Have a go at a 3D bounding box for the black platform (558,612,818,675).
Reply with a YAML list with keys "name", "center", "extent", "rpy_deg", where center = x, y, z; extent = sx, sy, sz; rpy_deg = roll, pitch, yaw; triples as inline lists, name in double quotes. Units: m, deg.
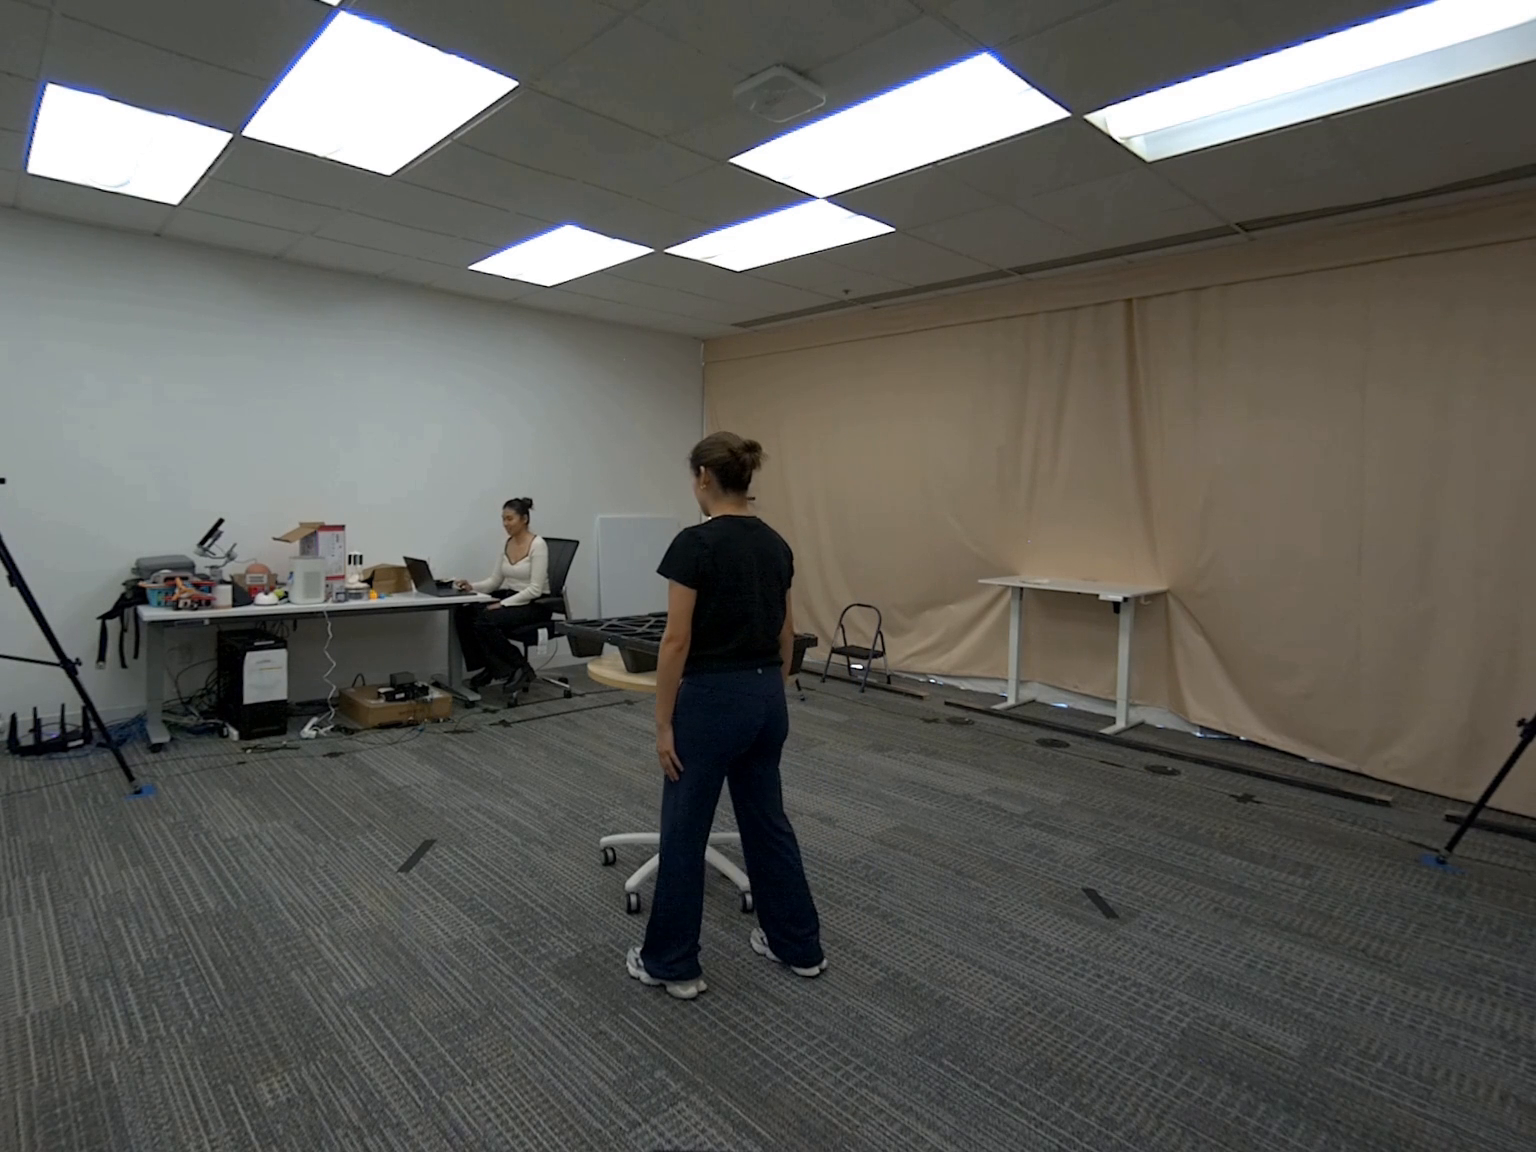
- name: "black platform"
  center: [-0.316, 0.264, 3.044]
  extent: [0.826, 0.143, 0.591]
  rpy_deg: [6, 7, 44]
